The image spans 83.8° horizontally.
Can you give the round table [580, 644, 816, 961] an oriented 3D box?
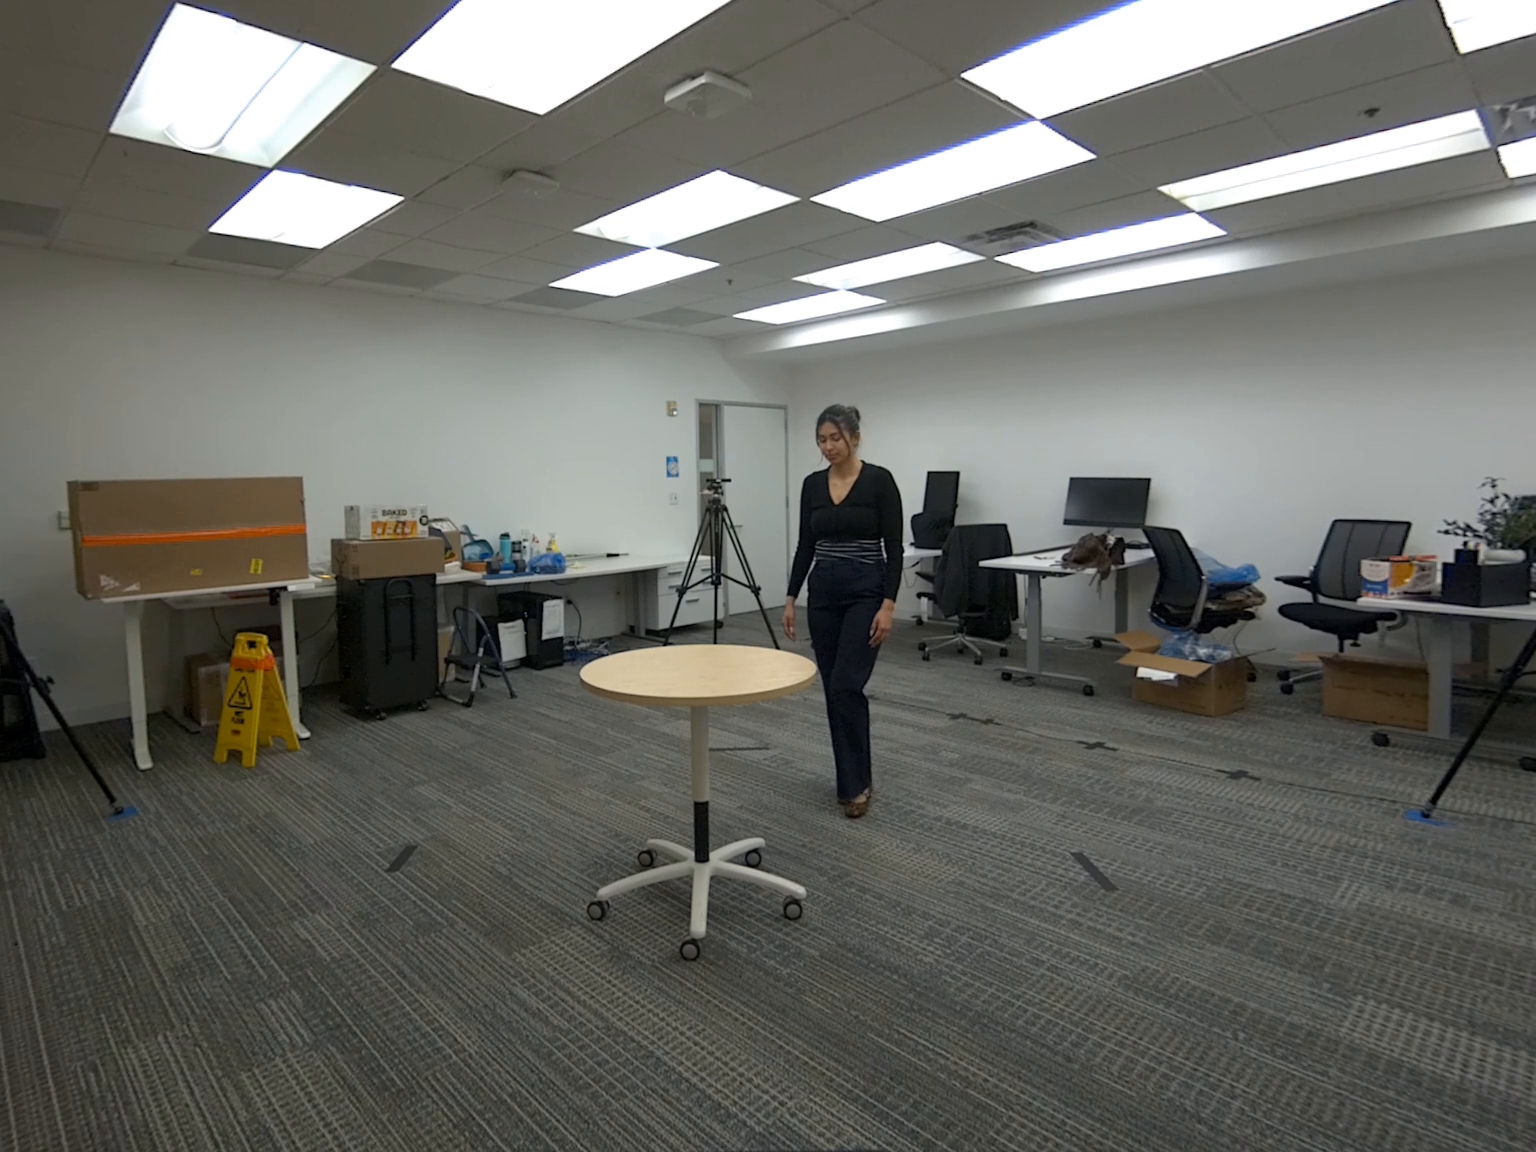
[{"bbox_3d":[-0.217,0.692,2.812,0.763,0.790,0.768,-1,5,-2],"label":"round table"}]
